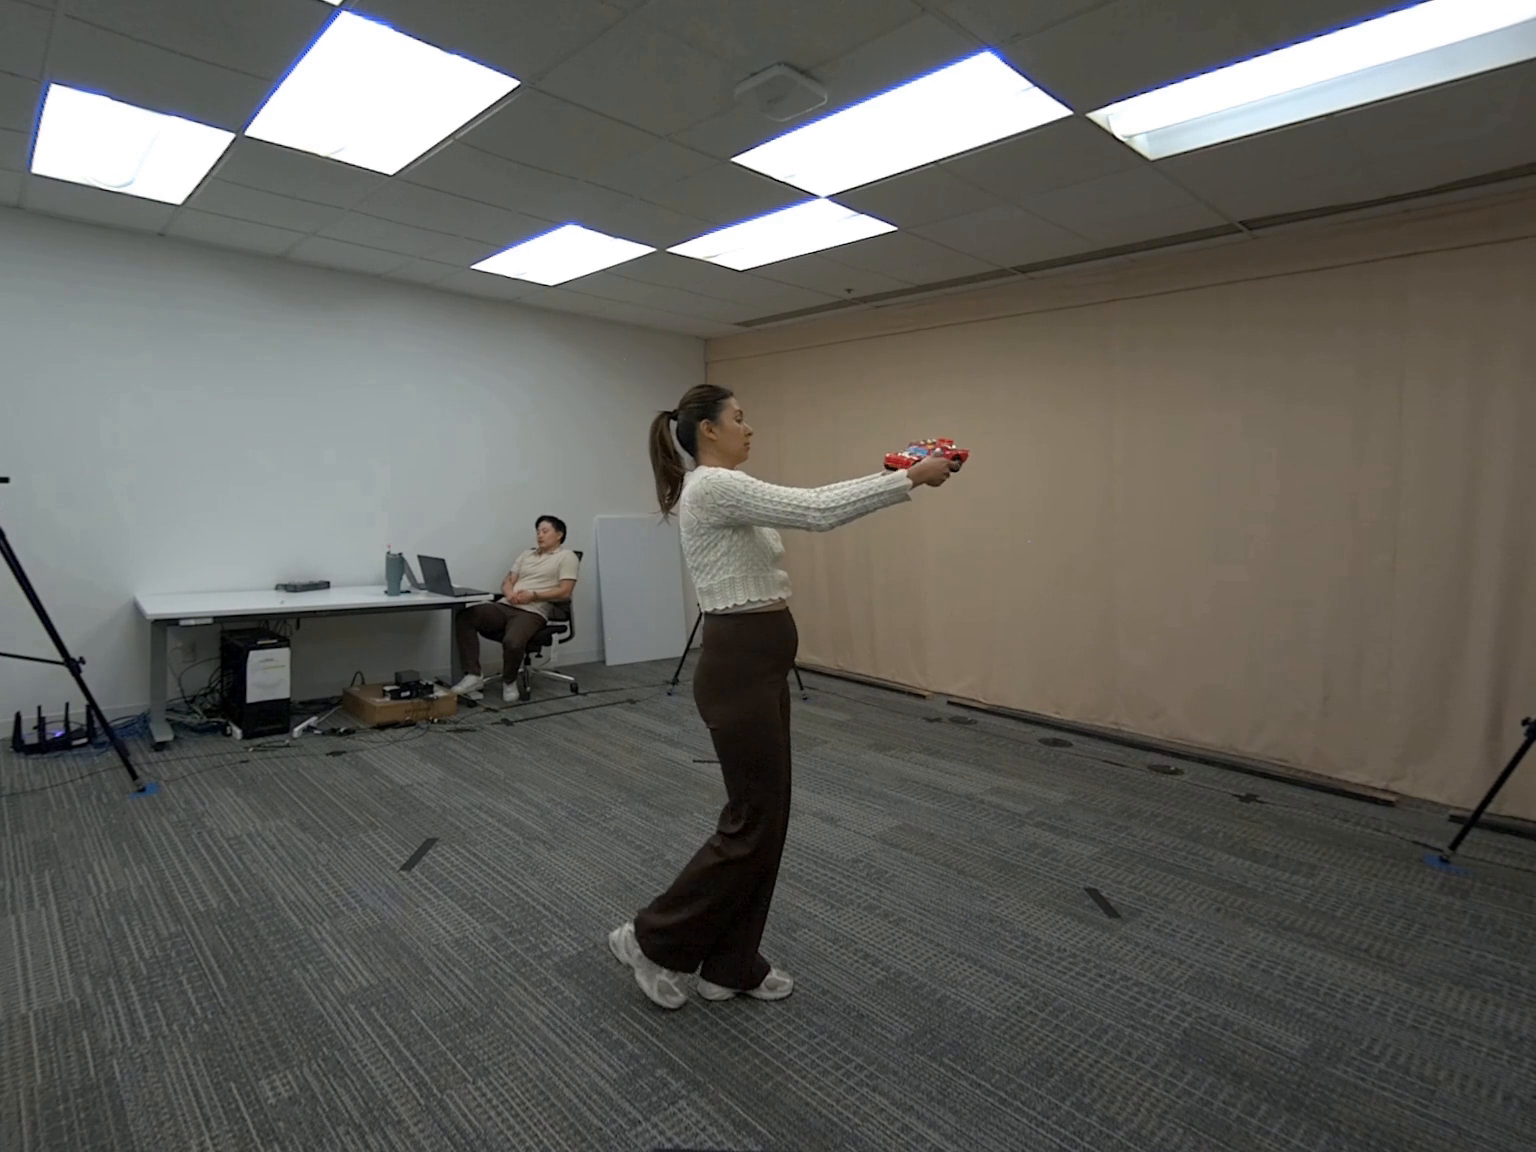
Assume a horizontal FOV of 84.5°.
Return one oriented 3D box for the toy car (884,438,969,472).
[{"bbox_3d":[0.428,-0.319,2.302,0.251,0.082,0.134,-22,25,-31],"label":"toy car"}]
